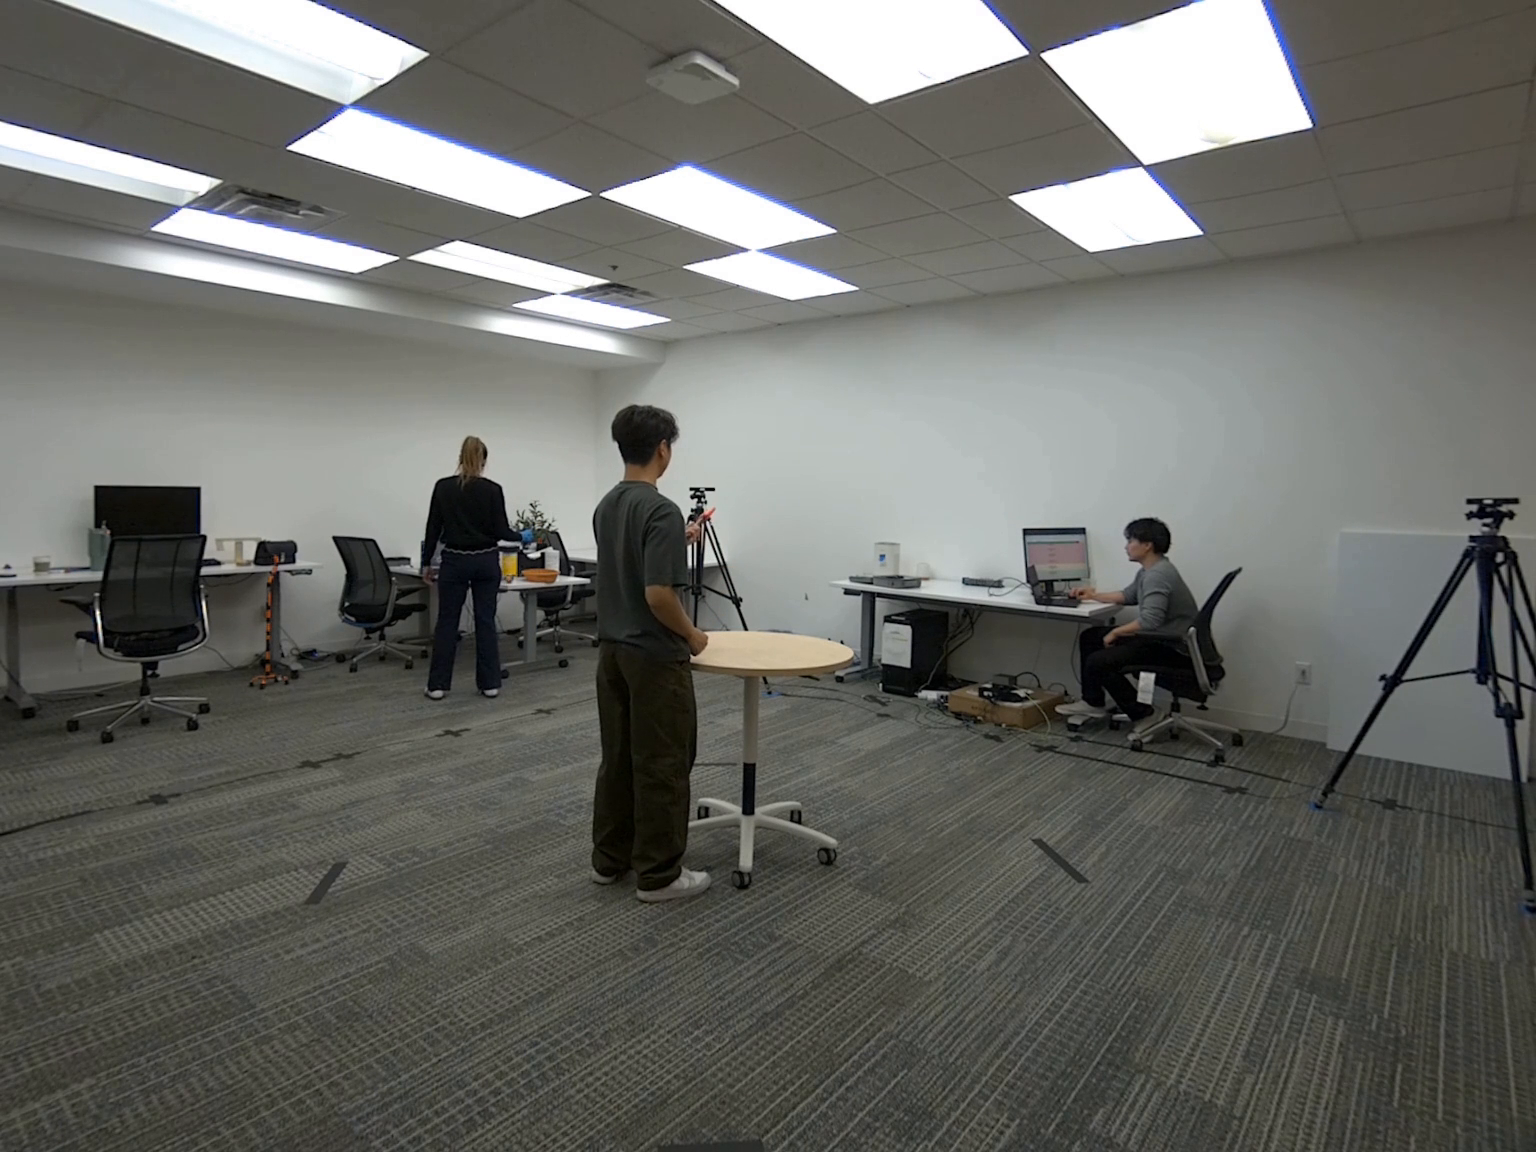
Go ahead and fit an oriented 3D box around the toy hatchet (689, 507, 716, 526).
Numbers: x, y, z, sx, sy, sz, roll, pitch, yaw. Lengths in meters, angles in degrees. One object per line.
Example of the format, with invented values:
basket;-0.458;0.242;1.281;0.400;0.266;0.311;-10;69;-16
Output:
toy hatchet;-0.275;-0.210;3.336;0.131;0.029;0.272;-39;9;15
